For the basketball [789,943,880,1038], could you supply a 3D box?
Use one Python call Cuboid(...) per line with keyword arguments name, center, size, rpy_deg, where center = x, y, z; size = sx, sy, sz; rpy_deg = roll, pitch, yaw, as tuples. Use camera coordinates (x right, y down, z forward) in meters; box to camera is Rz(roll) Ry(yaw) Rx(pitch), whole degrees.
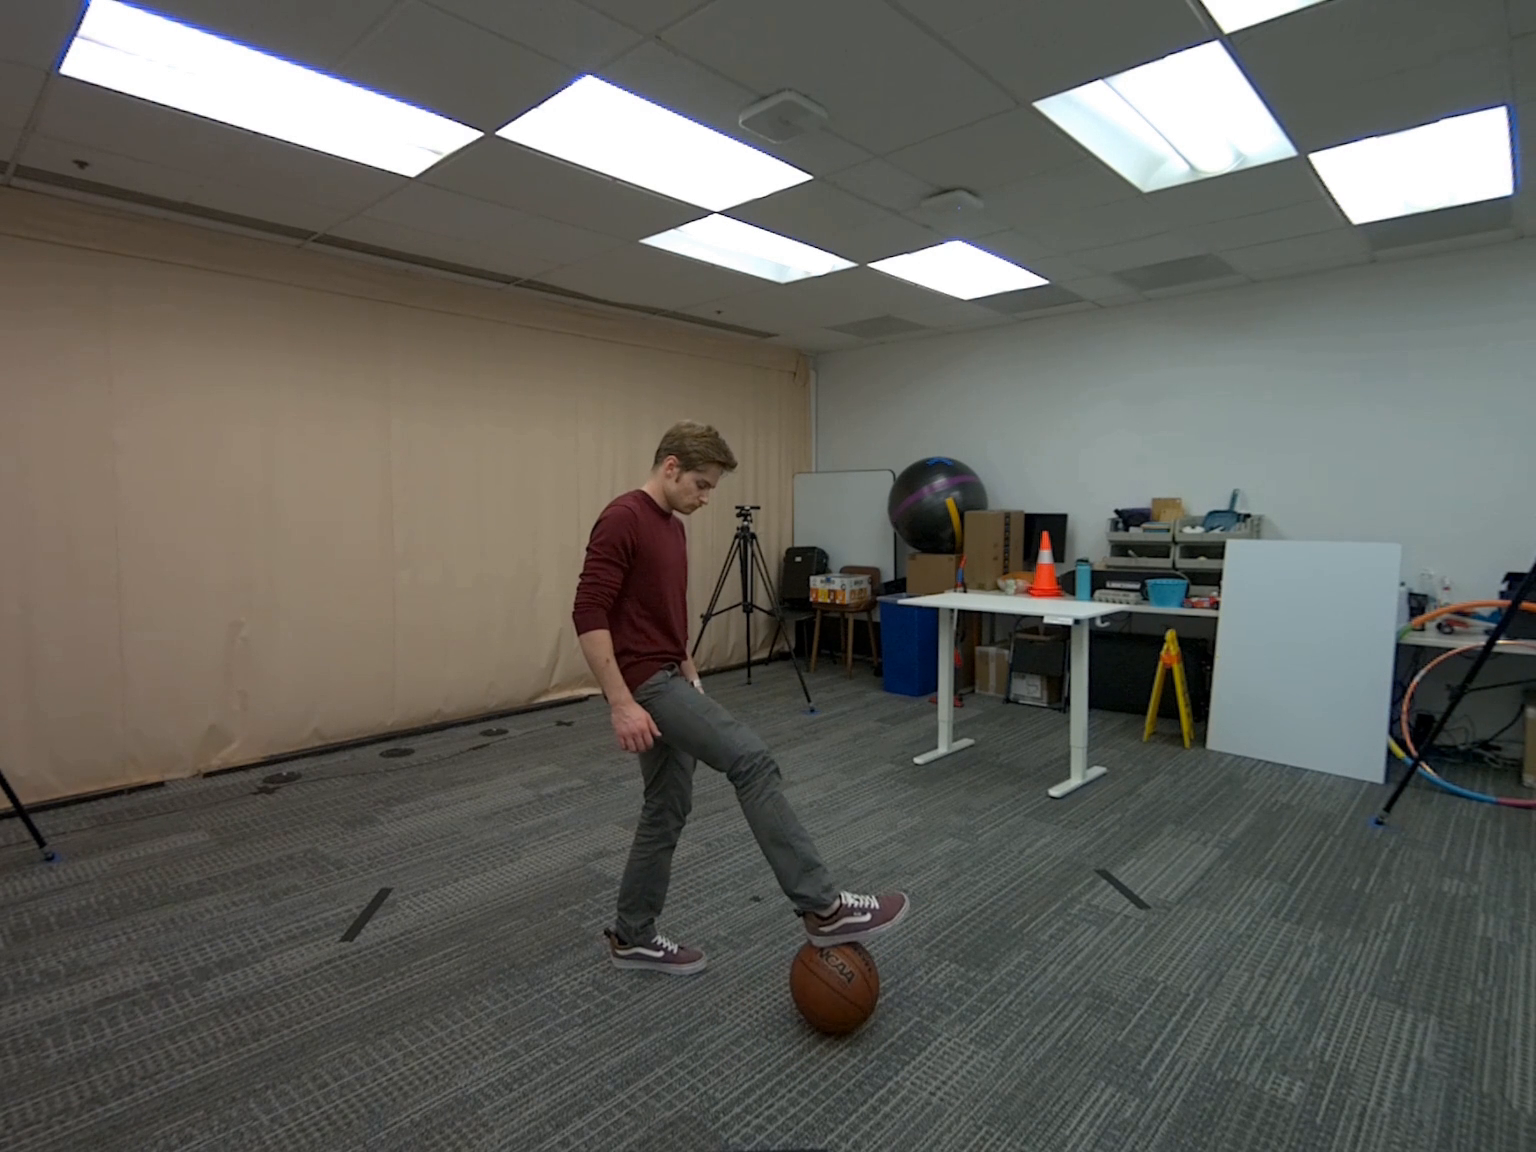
Cuboid(name="basketball", center=(0.186, 1.088, 2.251), size=(0.236, 0.235, 0.237), rpy_deg=(0, 4, -2))
